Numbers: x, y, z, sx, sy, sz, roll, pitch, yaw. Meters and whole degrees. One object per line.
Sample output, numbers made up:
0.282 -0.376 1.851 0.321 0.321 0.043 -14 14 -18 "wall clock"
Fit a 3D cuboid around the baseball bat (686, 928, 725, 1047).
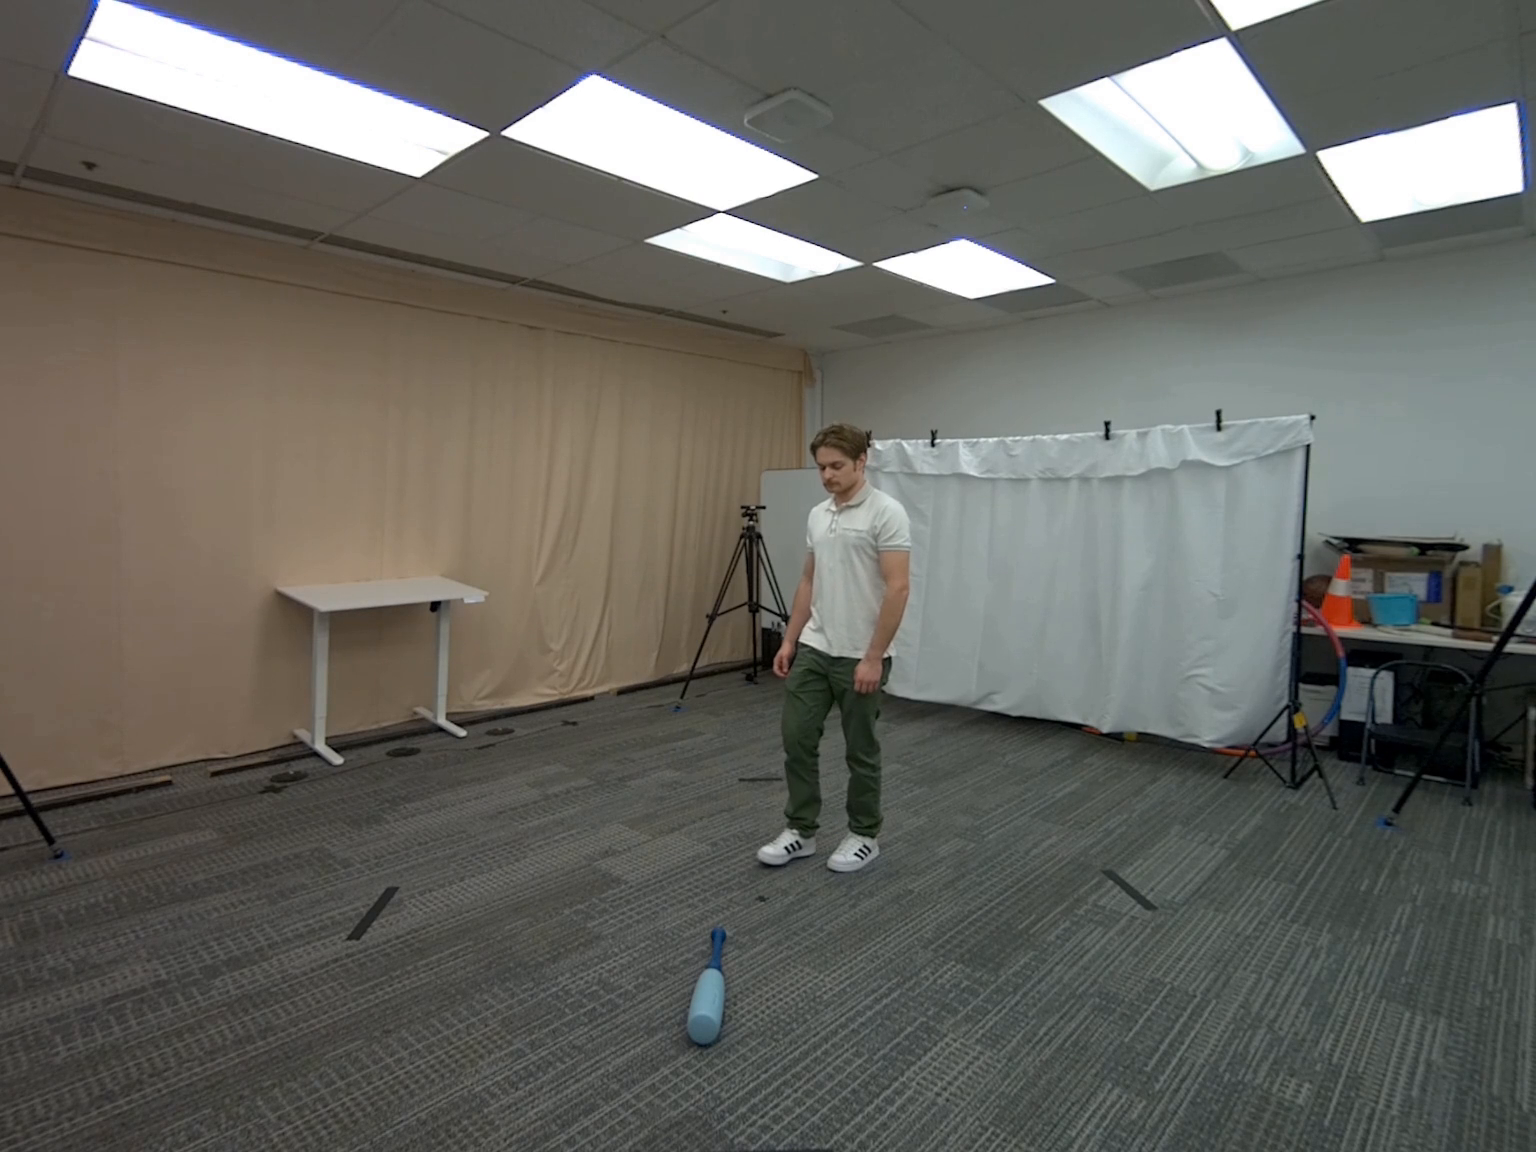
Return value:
-0.156 1.156 2.423 0.089 0.089 0.541 0 1 1 "baseball bat"
